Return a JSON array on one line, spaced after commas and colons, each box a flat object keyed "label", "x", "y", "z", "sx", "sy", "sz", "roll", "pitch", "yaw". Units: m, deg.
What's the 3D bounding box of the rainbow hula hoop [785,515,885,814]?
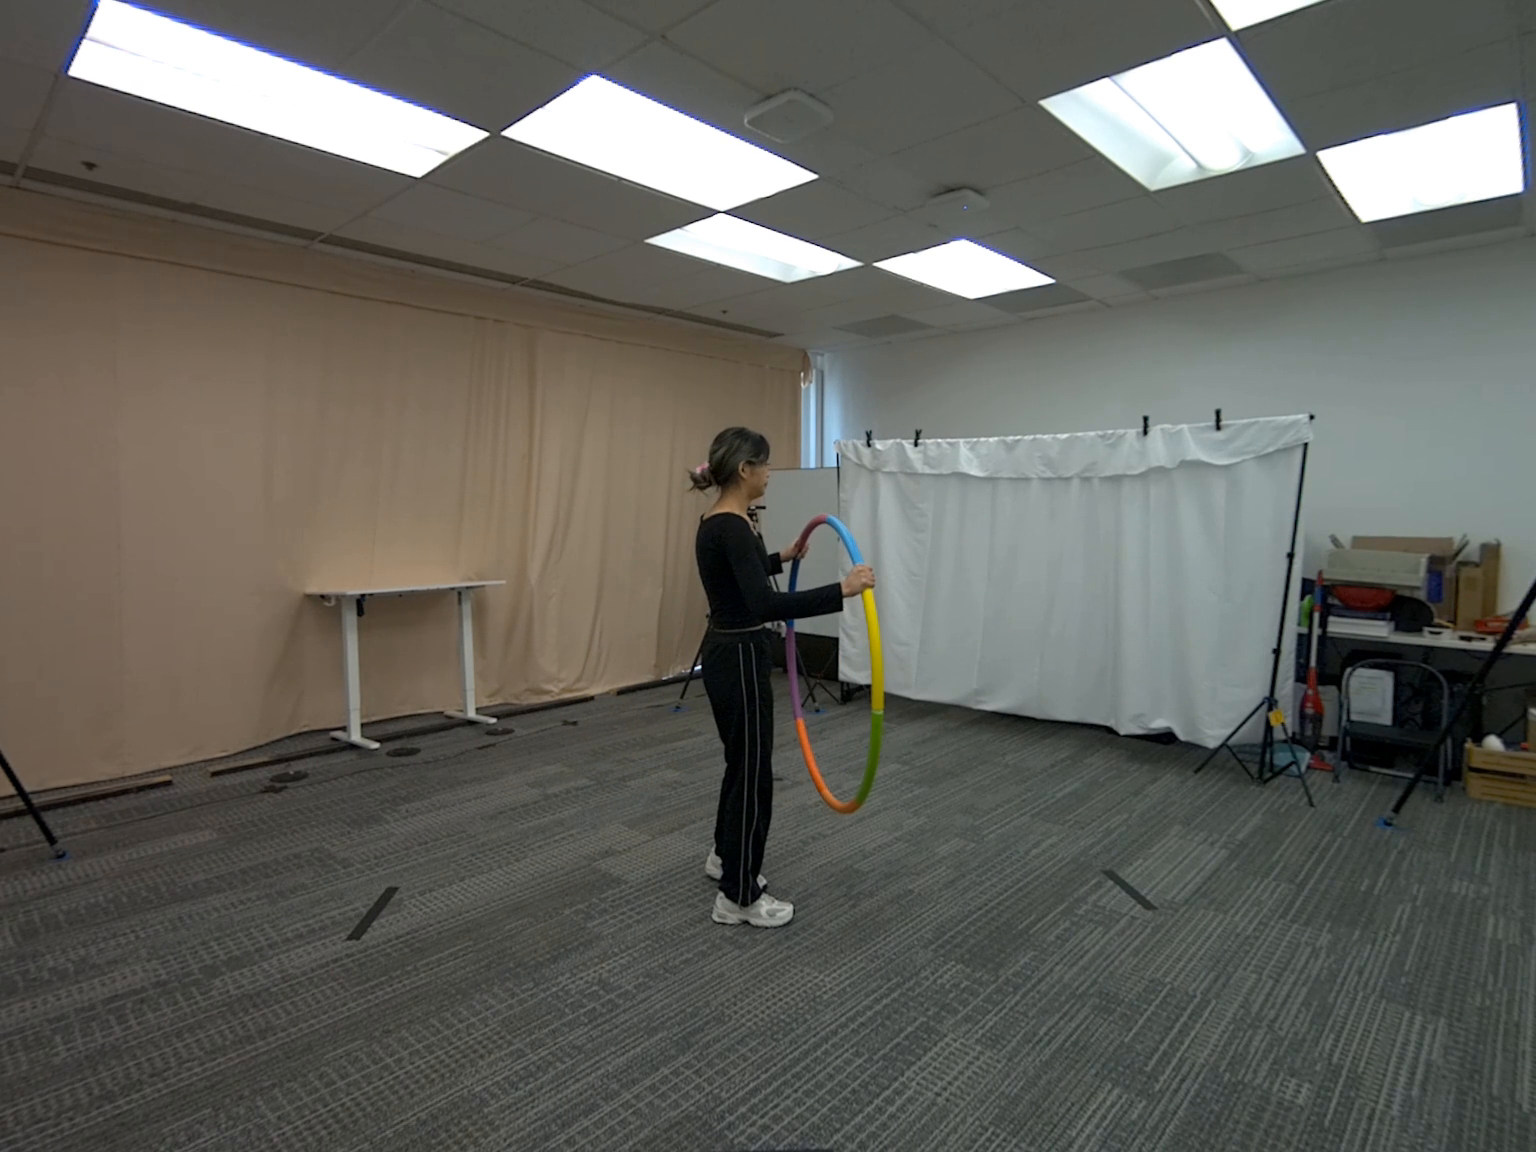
[{"label": "rainbow hula hoop", "x": 0.204, "y": 0.293, "z": 2.864, "sx": 0.035, "sy": 0.976, "sz": 0.993, "roll": -3, "pitch": 4, "yaw": -13}]
